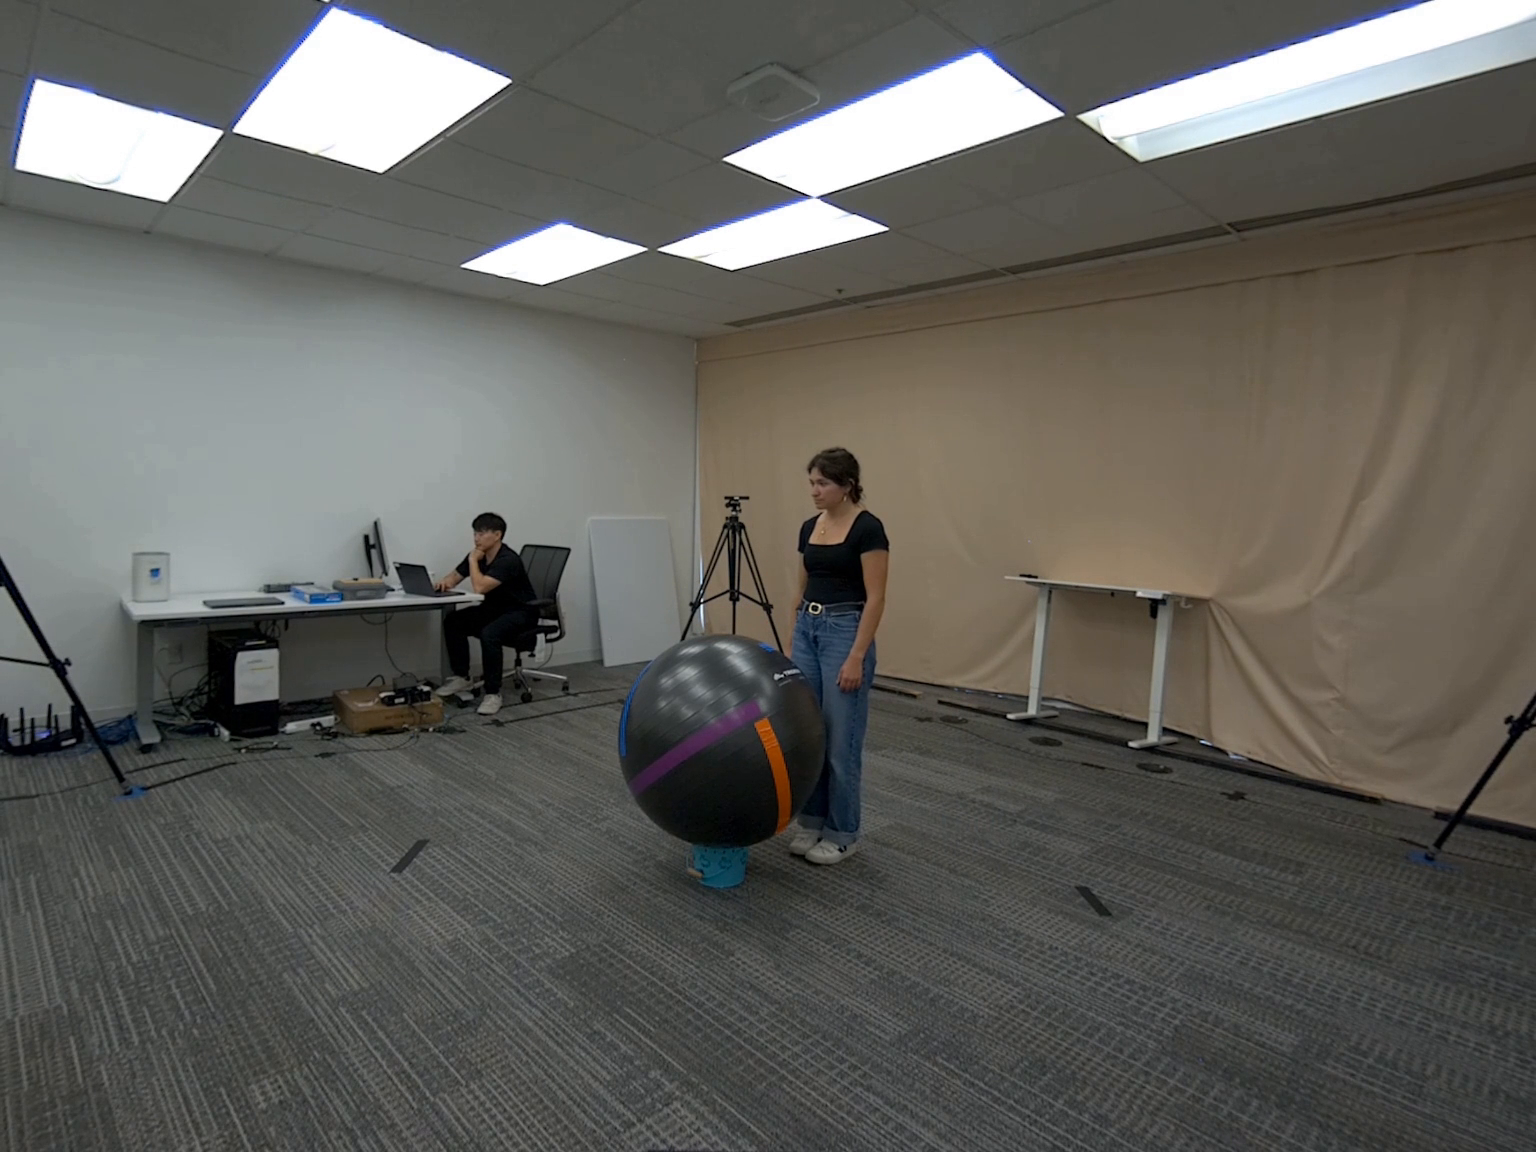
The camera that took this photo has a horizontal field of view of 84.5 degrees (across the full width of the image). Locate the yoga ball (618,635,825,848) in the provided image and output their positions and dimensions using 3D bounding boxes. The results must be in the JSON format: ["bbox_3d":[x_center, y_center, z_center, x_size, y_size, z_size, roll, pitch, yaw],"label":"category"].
[{"bbox_3d":[-0.174,0.595,3.065,0.757,0.756,0.761,1,4,-1],"label":"yoga ball"}]
